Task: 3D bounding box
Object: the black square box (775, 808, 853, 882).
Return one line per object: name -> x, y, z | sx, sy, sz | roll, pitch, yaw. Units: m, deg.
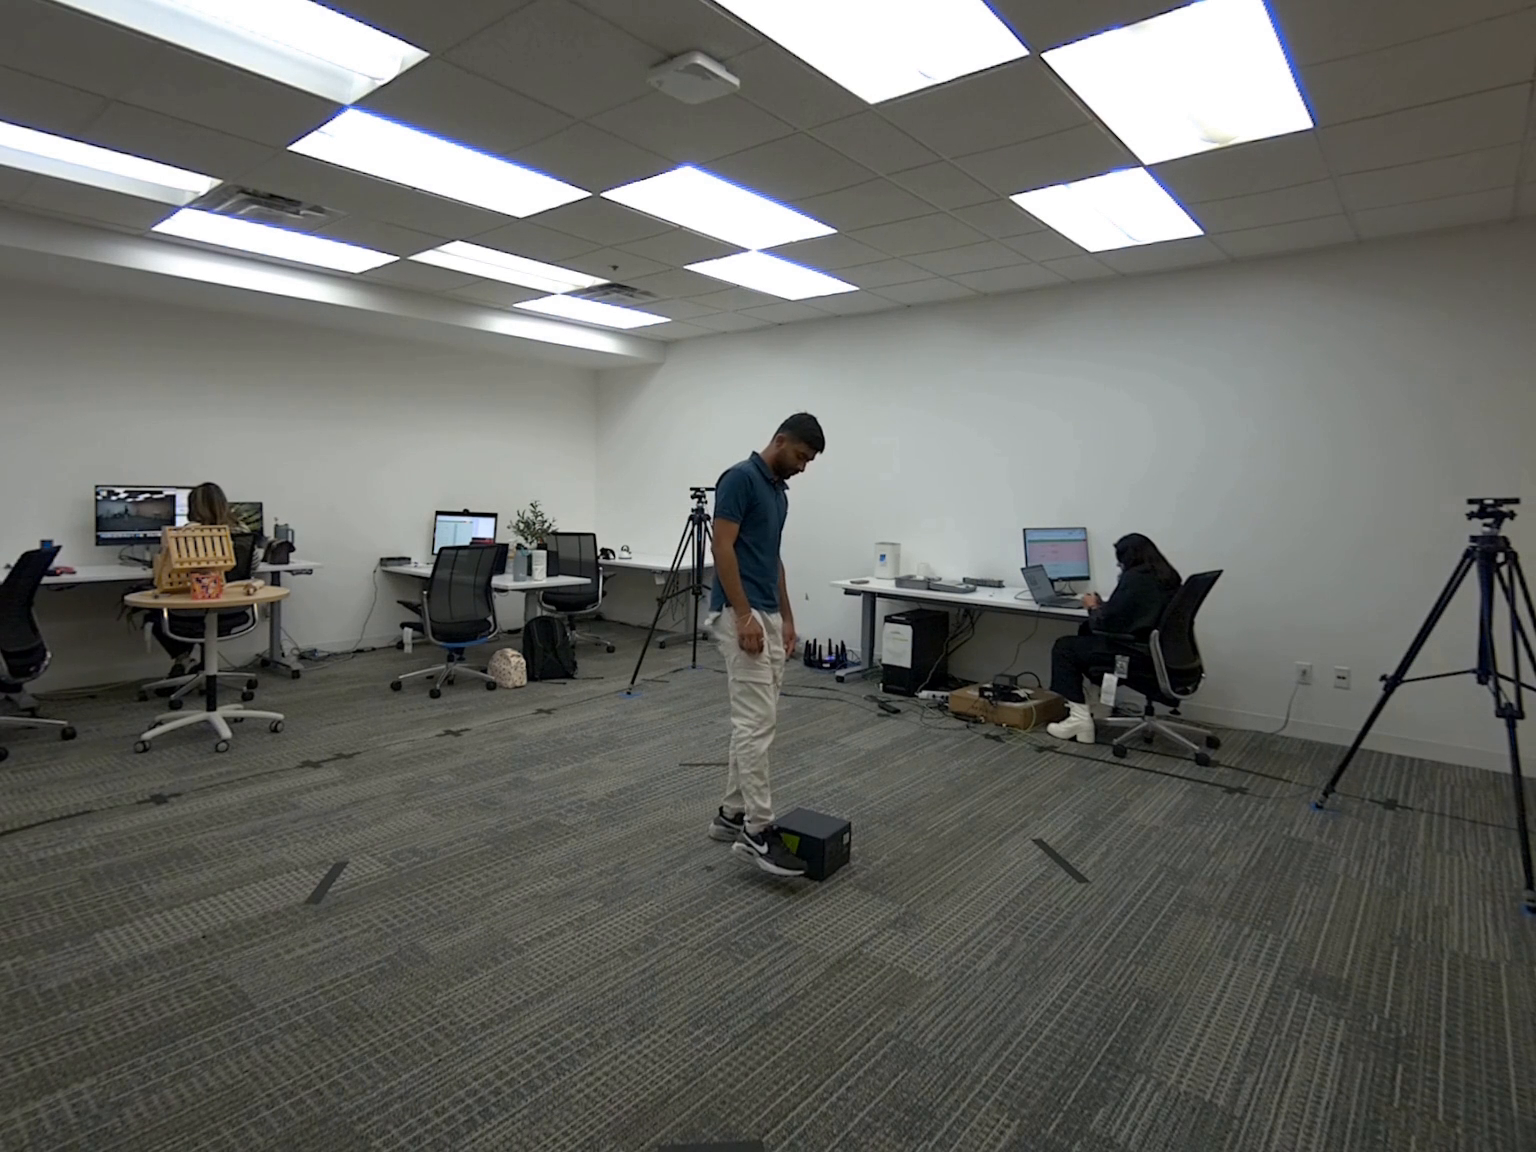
black square box -> 0.150, 0.983, 3.164 | 0.235, 0.155, 0.211 | 5, 6, 34
